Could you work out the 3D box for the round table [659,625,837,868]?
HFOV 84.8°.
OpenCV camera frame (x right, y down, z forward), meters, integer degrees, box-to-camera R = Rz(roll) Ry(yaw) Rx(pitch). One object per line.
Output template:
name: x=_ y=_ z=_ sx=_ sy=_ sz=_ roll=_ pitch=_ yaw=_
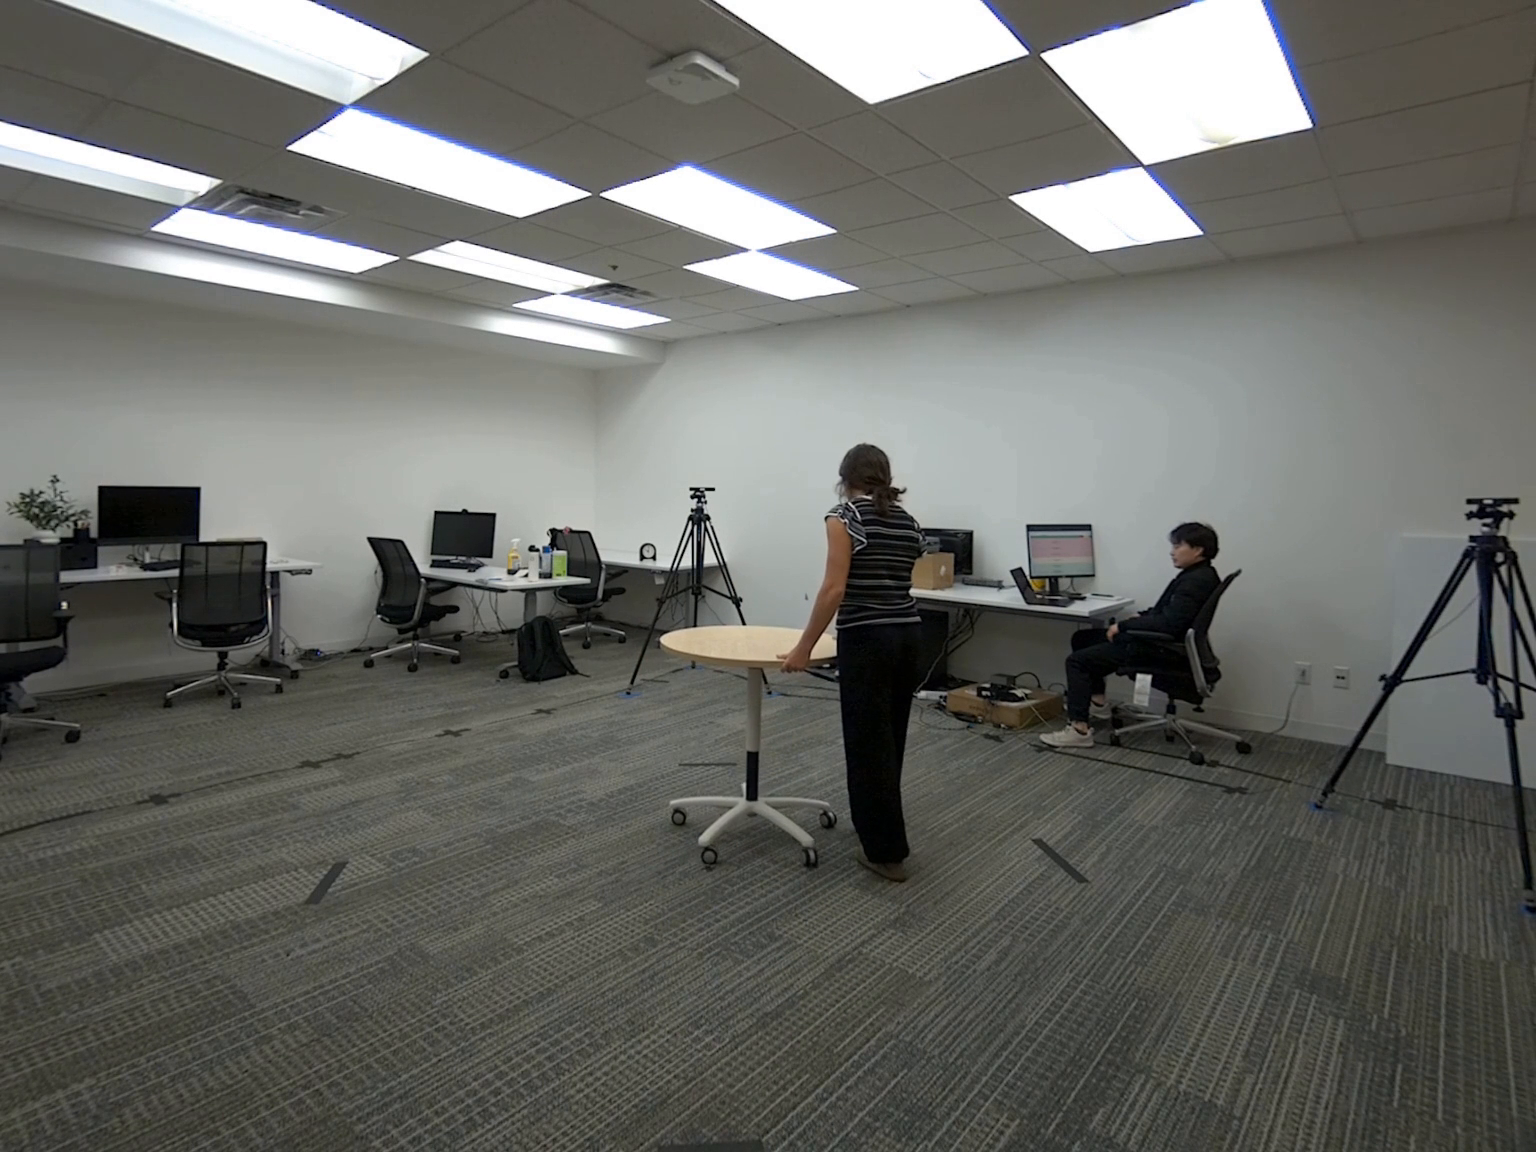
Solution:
round table: x=-0.074 y=0.650 z=3.420 sx=0.763 sy=0.792 sz=0.767 roll=1 pitch=4 yaw=-2
